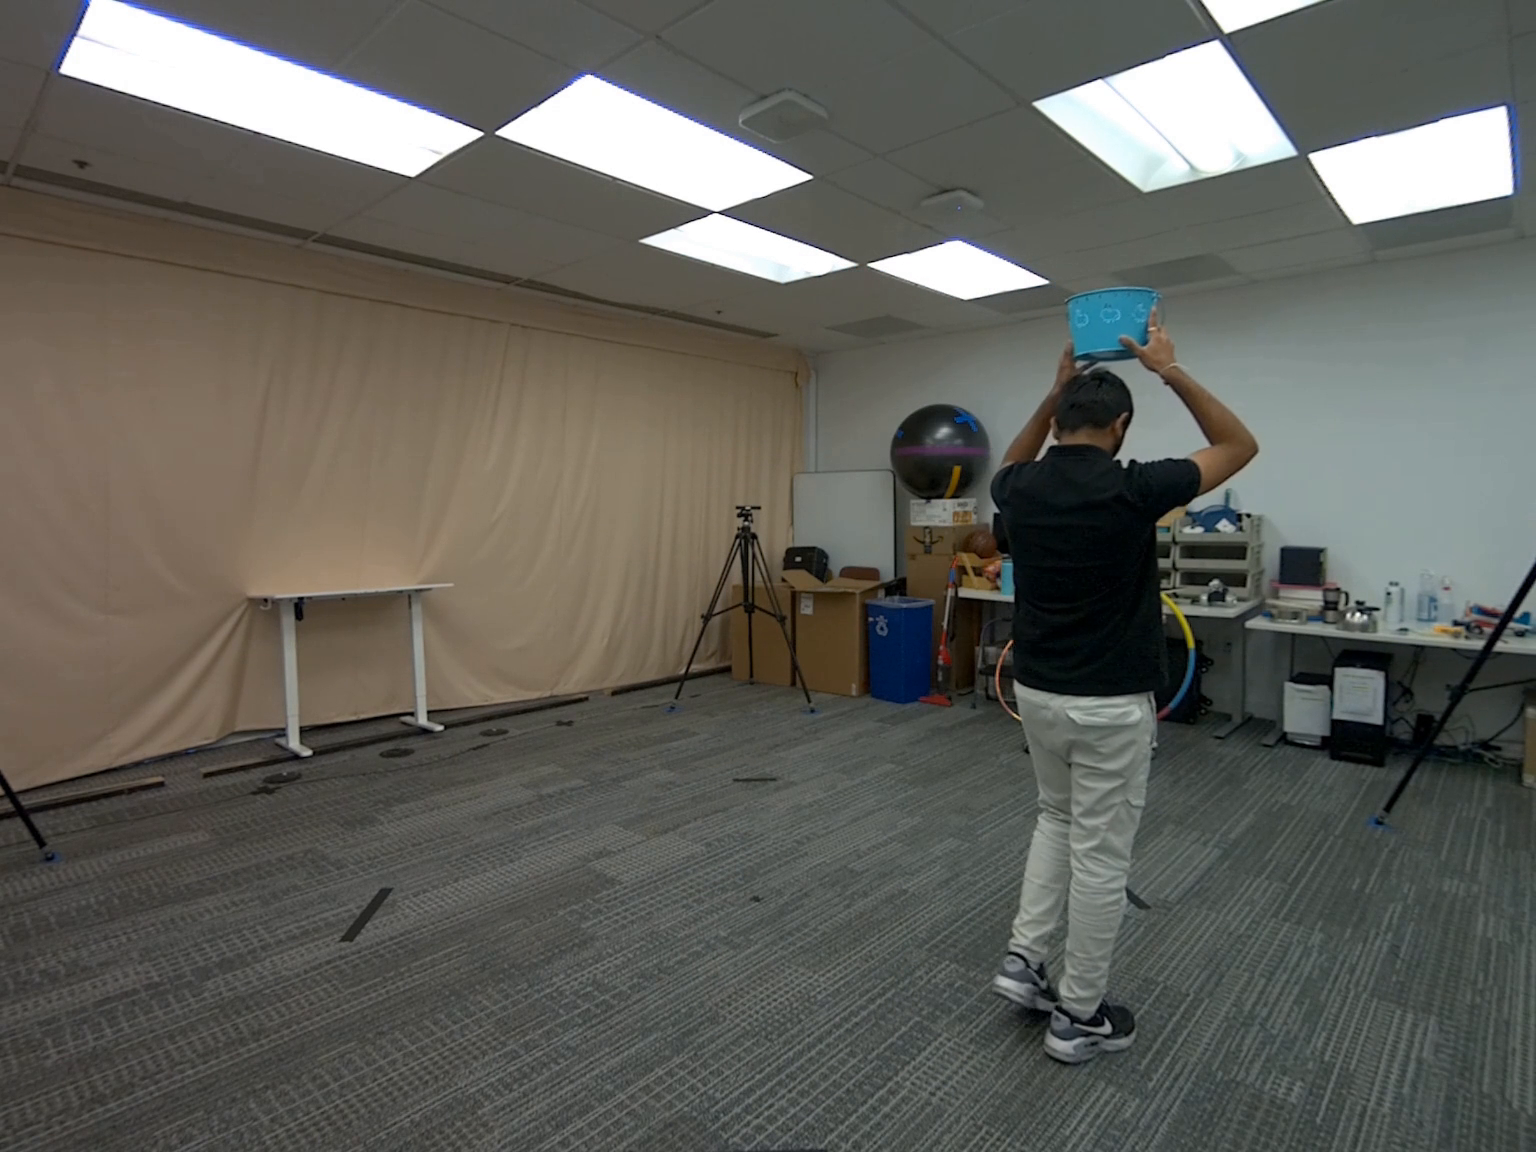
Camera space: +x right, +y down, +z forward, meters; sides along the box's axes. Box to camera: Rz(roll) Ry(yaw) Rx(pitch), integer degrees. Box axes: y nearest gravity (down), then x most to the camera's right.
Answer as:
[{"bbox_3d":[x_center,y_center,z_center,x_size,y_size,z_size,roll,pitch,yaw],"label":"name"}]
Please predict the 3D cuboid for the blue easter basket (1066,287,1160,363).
[{"bbox_3d":[0.949,-0.665,2.248,0.243,0.155,0.244,3,4,-2],"label":"blue easter basket"}]
